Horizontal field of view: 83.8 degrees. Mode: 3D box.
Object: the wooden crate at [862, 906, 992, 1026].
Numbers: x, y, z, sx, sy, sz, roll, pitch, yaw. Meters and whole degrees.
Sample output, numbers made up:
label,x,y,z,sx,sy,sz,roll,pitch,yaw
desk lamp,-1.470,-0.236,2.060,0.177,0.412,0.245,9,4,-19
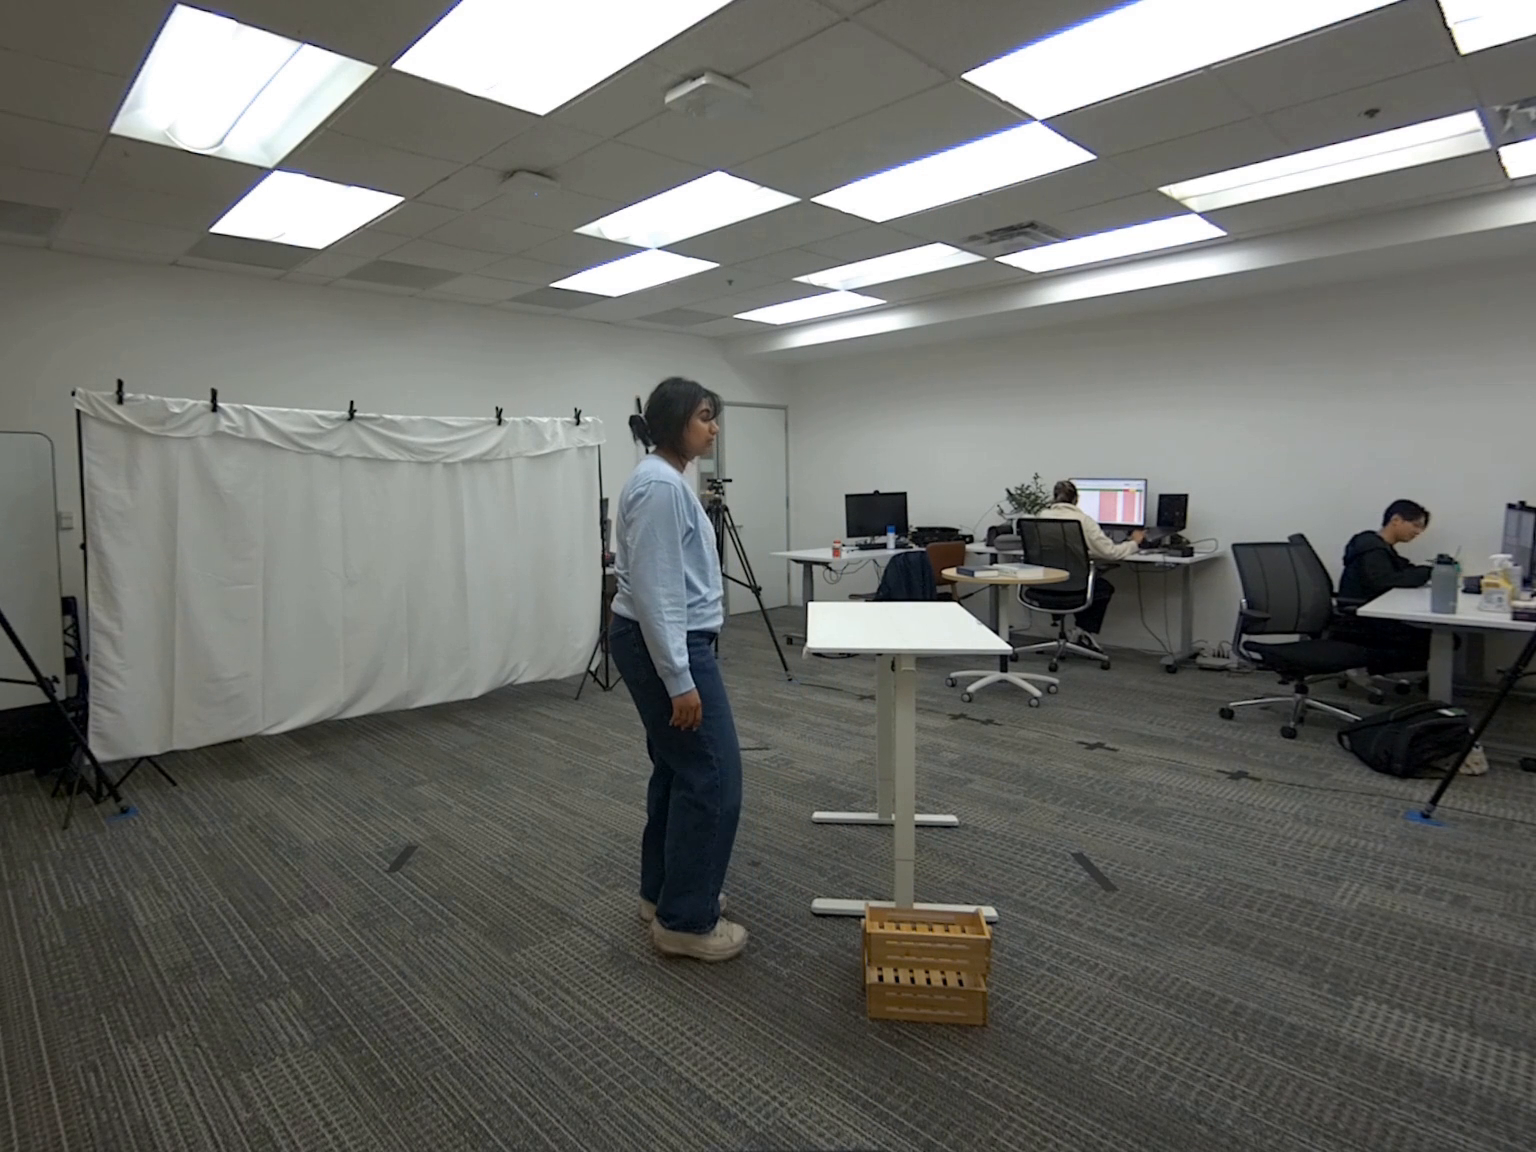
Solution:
label,x,y,z,sx,sy,sz,roll,pitch,yaw
wooden crate,0.420,1.000,2.278,0.326,0.272,0.302,-1,6,6
